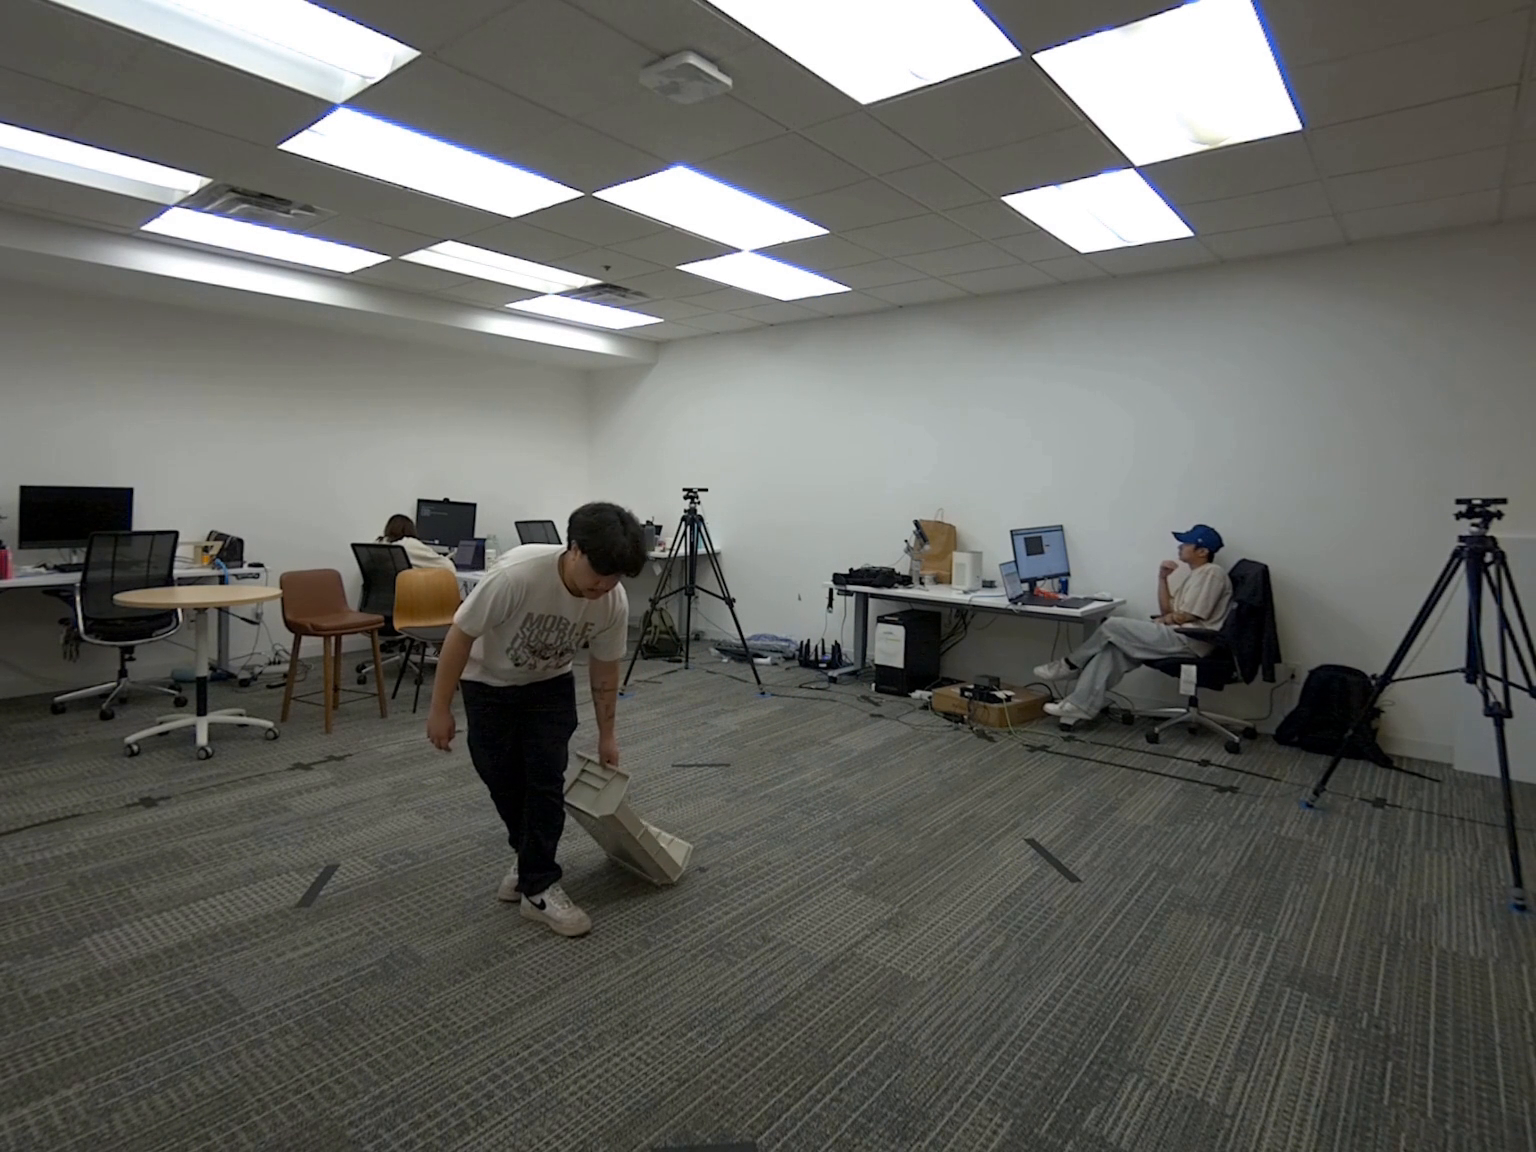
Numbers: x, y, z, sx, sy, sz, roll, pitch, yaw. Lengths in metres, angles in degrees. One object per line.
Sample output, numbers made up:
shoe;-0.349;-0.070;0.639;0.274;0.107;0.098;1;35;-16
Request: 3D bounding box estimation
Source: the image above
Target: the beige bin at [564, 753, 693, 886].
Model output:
beige bin;-0.524;0.860;3.002;0.390;0.408;0.189;4;46;46
